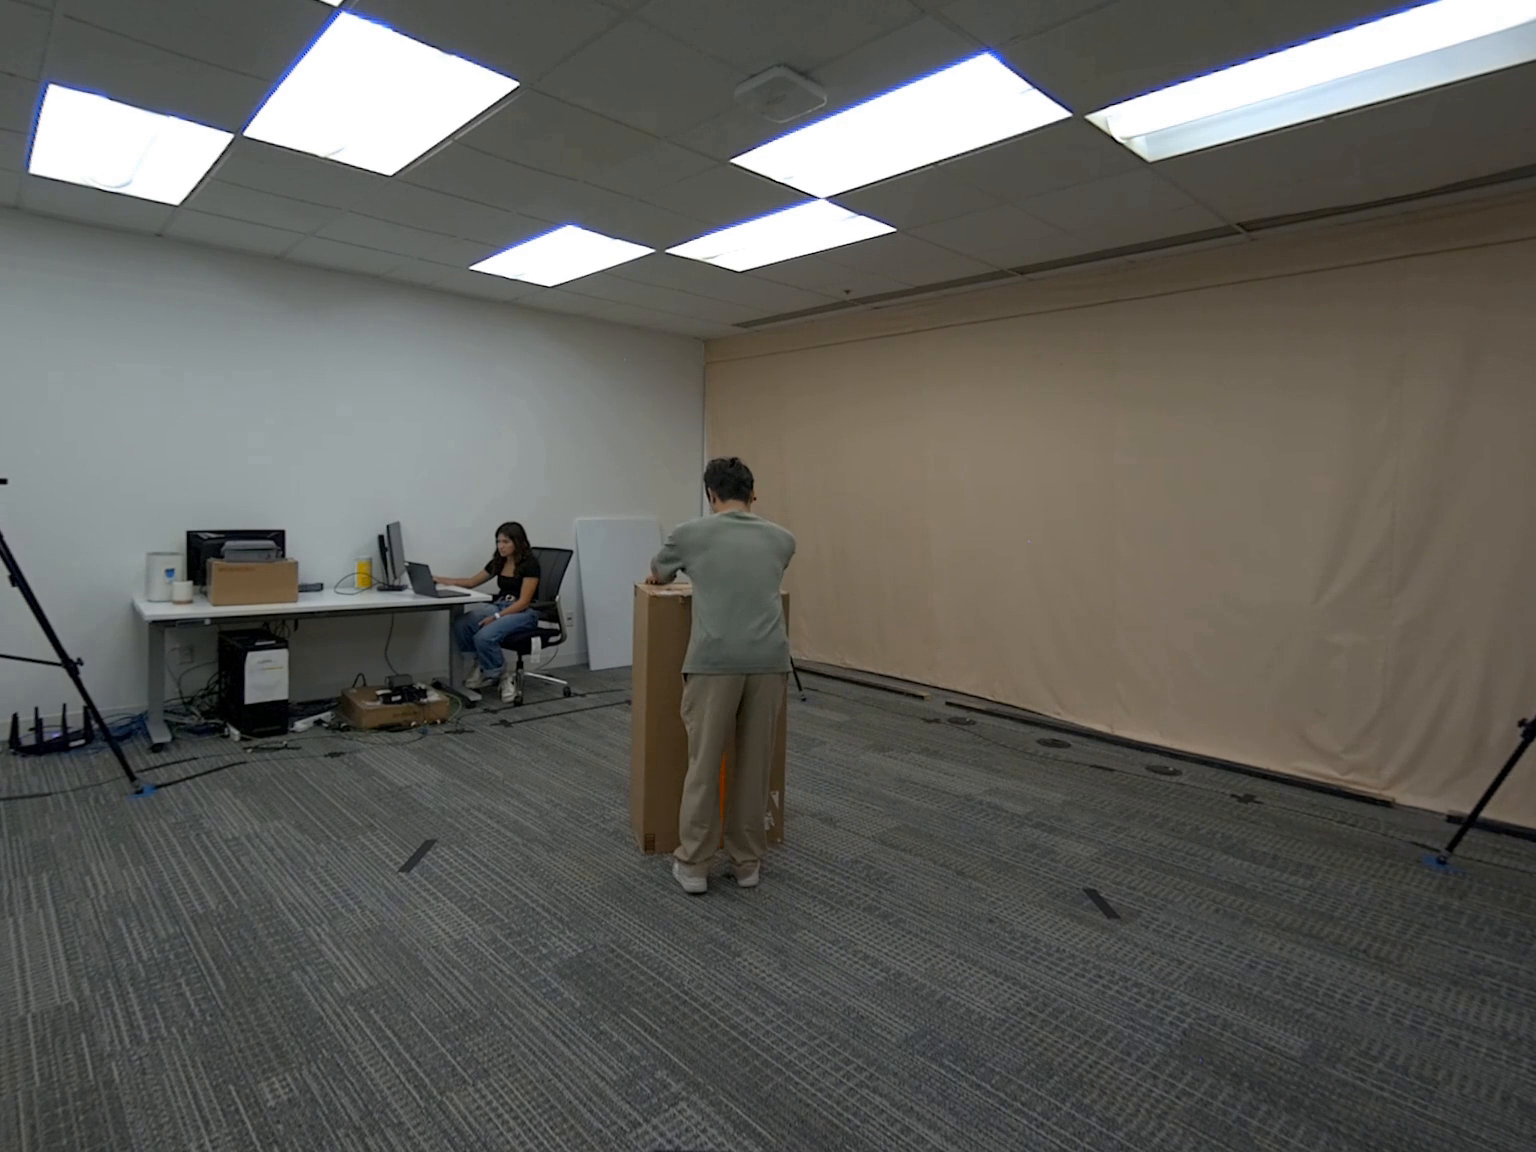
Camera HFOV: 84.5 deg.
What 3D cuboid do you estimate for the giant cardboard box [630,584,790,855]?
[{"bbox_3d":[-0.265,0.556,3.515,0.571,1.023,0.432,0,3,-15],"label":"giant cardboard box"}]
